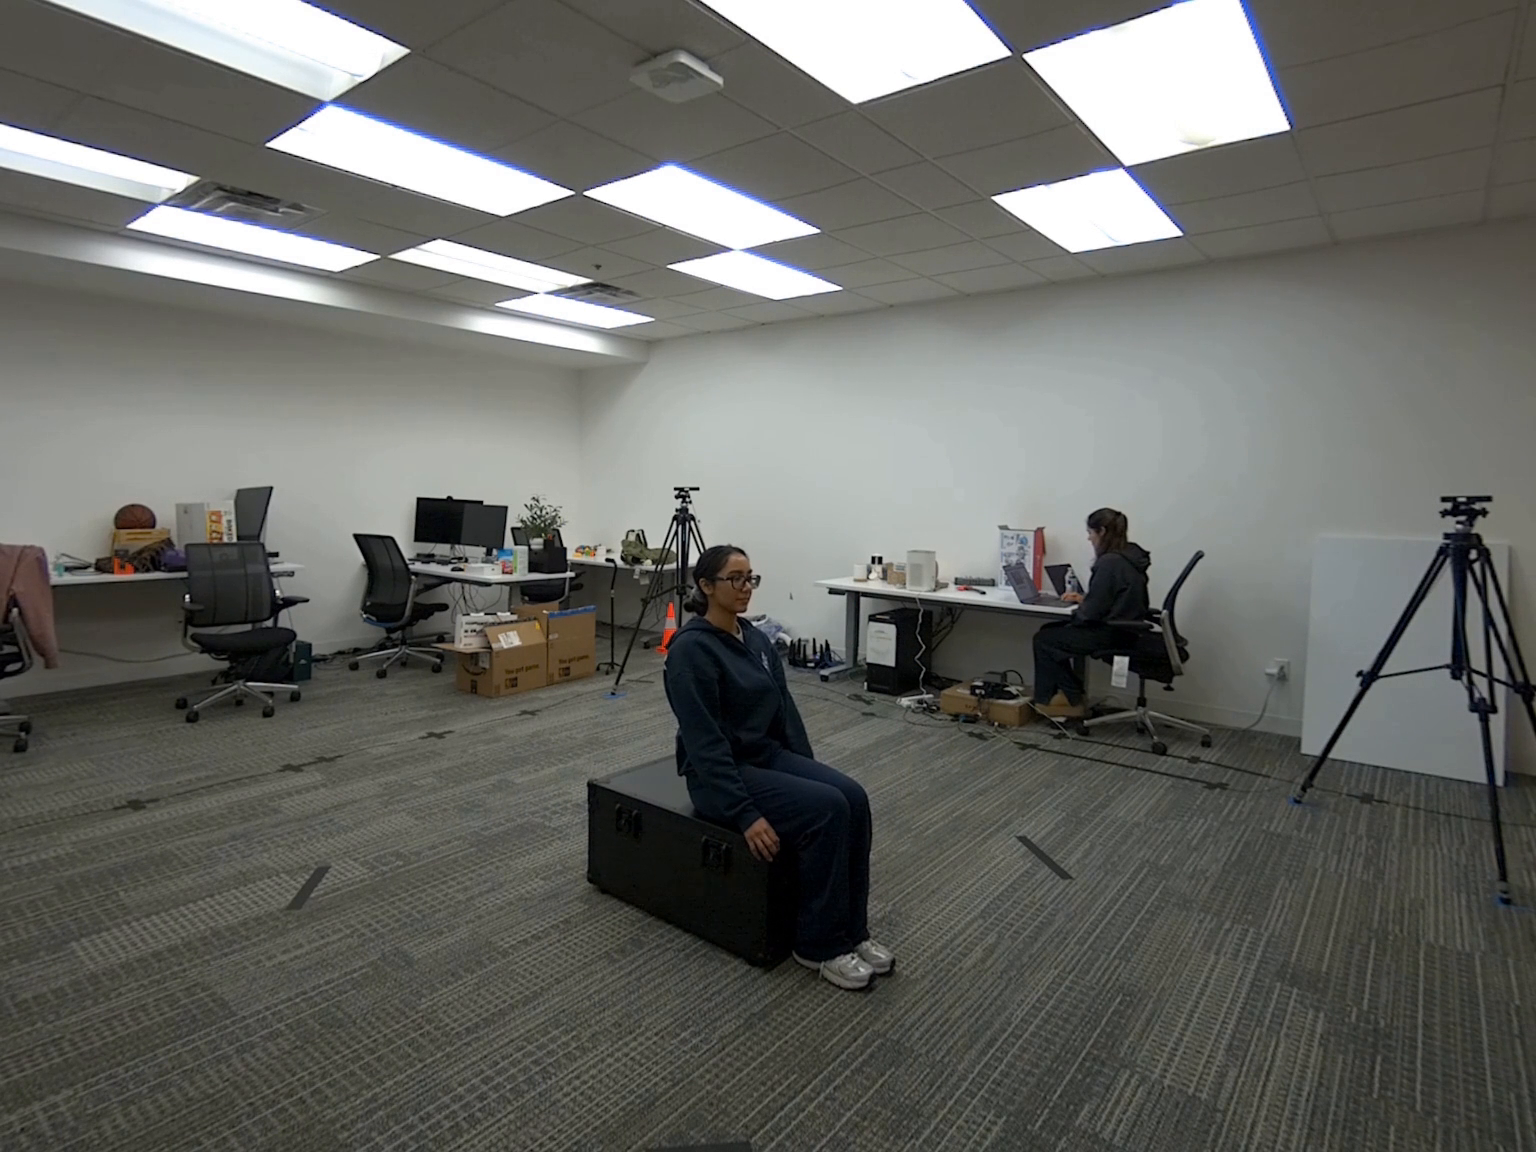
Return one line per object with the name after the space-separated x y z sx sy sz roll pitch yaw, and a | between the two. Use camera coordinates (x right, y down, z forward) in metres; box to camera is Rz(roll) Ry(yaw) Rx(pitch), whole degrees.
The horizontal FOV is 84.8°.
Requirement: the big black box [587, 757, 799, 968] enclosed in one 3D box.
-0.203 0.902 2.883 0.891 0.395 0.506 7 7 39 | big black box
